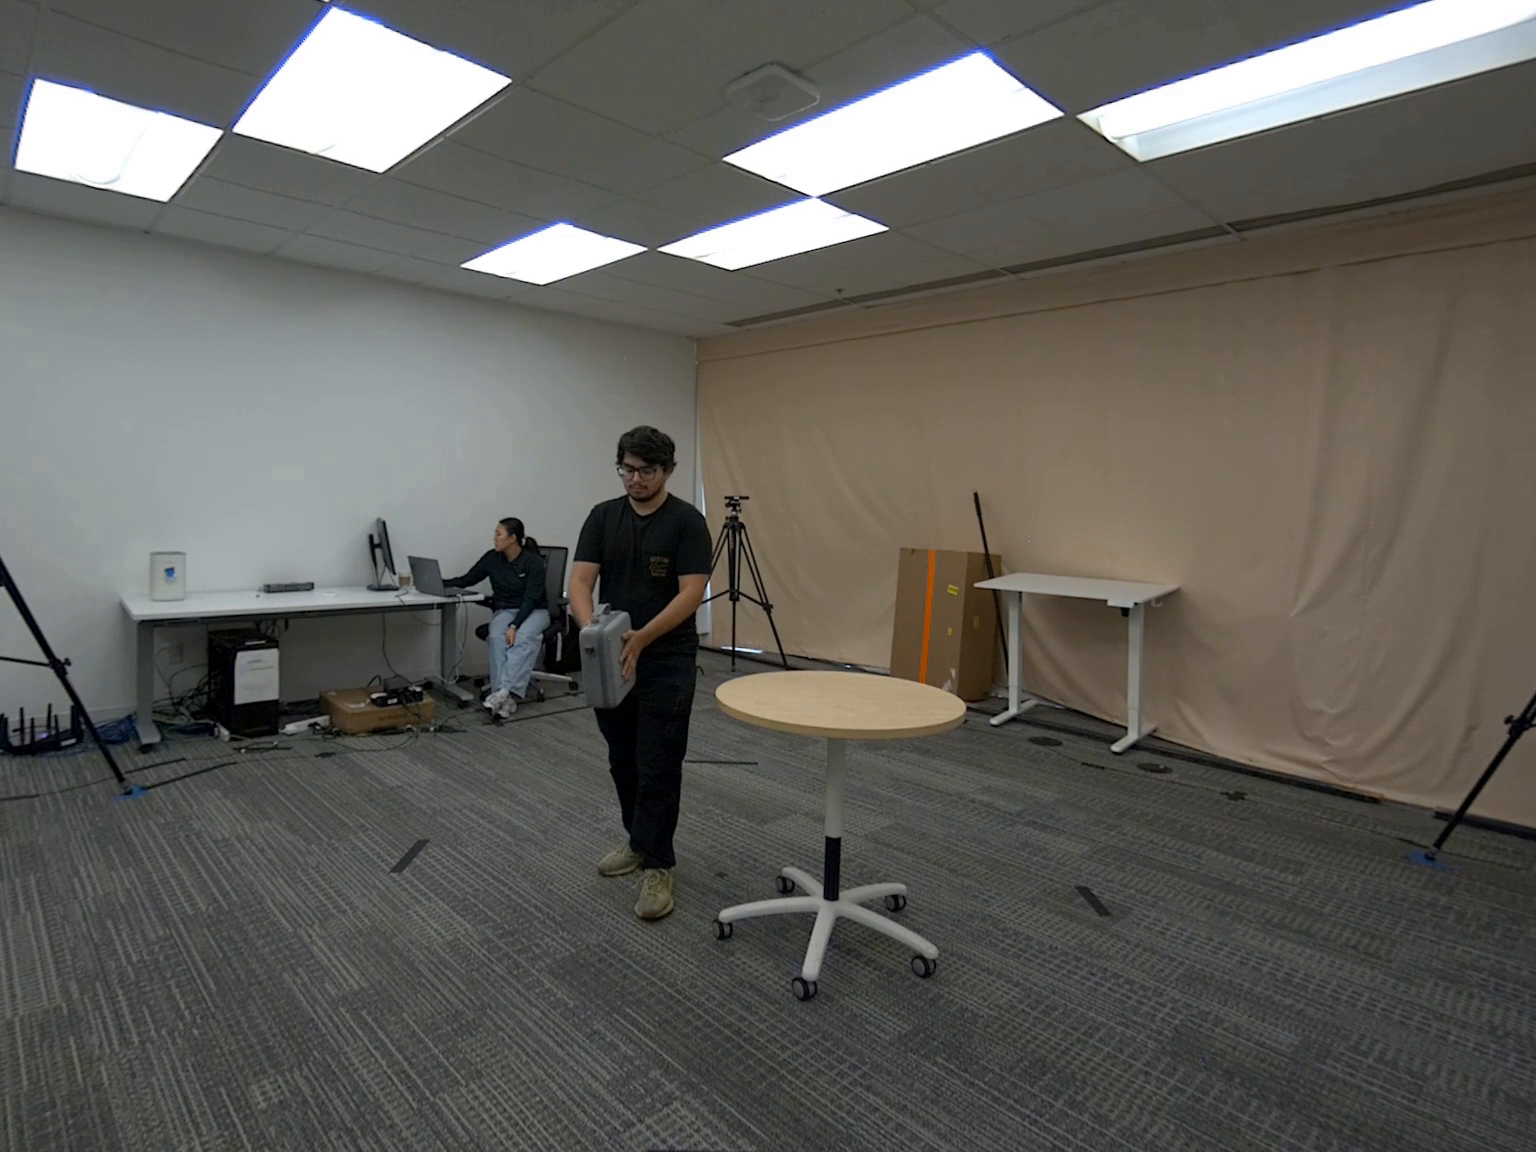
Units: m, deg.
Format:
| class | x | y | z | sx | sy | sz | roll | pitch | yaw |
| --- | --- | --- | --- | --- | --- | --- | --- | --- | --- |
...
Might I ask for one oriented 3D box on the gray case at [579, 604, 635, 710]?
| class | x | y | z | sx | sy | sz | roll | pitch | yaw |
| --- | --- | --- | --- | --- | --- | --- | --- | --- | --- |
| gray case | -0.516 | 0.259 | 2.611 | 0.105 | 0.259 | 0.257 | -4 | 9 | 7 |
